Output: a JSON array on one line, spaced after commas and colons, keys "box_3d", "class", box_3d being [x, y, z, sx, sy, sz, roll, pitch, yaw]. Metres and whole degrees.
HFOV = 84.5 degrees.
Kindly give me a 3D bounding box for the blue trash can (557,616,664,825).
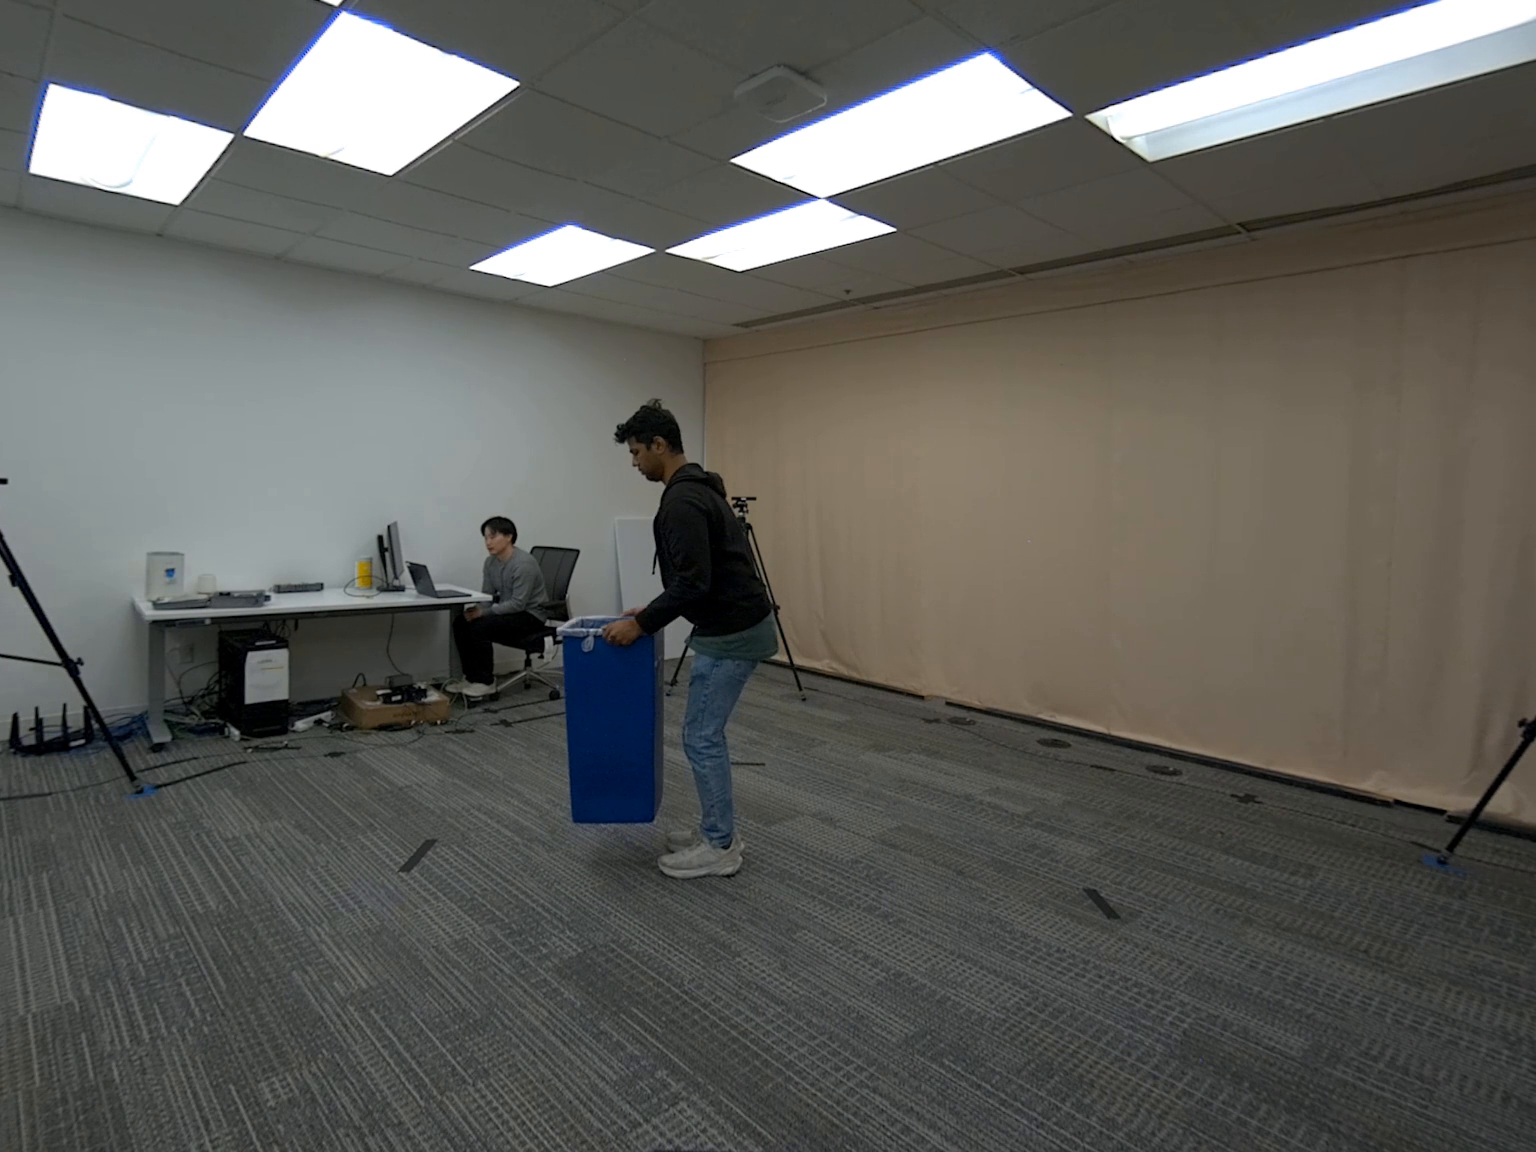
[{"box_3d": [-0.578, 0.535, 3.191, 0.379, 0.712, 0.374, 0, 3, 3], "class": "blue trash can"}]
